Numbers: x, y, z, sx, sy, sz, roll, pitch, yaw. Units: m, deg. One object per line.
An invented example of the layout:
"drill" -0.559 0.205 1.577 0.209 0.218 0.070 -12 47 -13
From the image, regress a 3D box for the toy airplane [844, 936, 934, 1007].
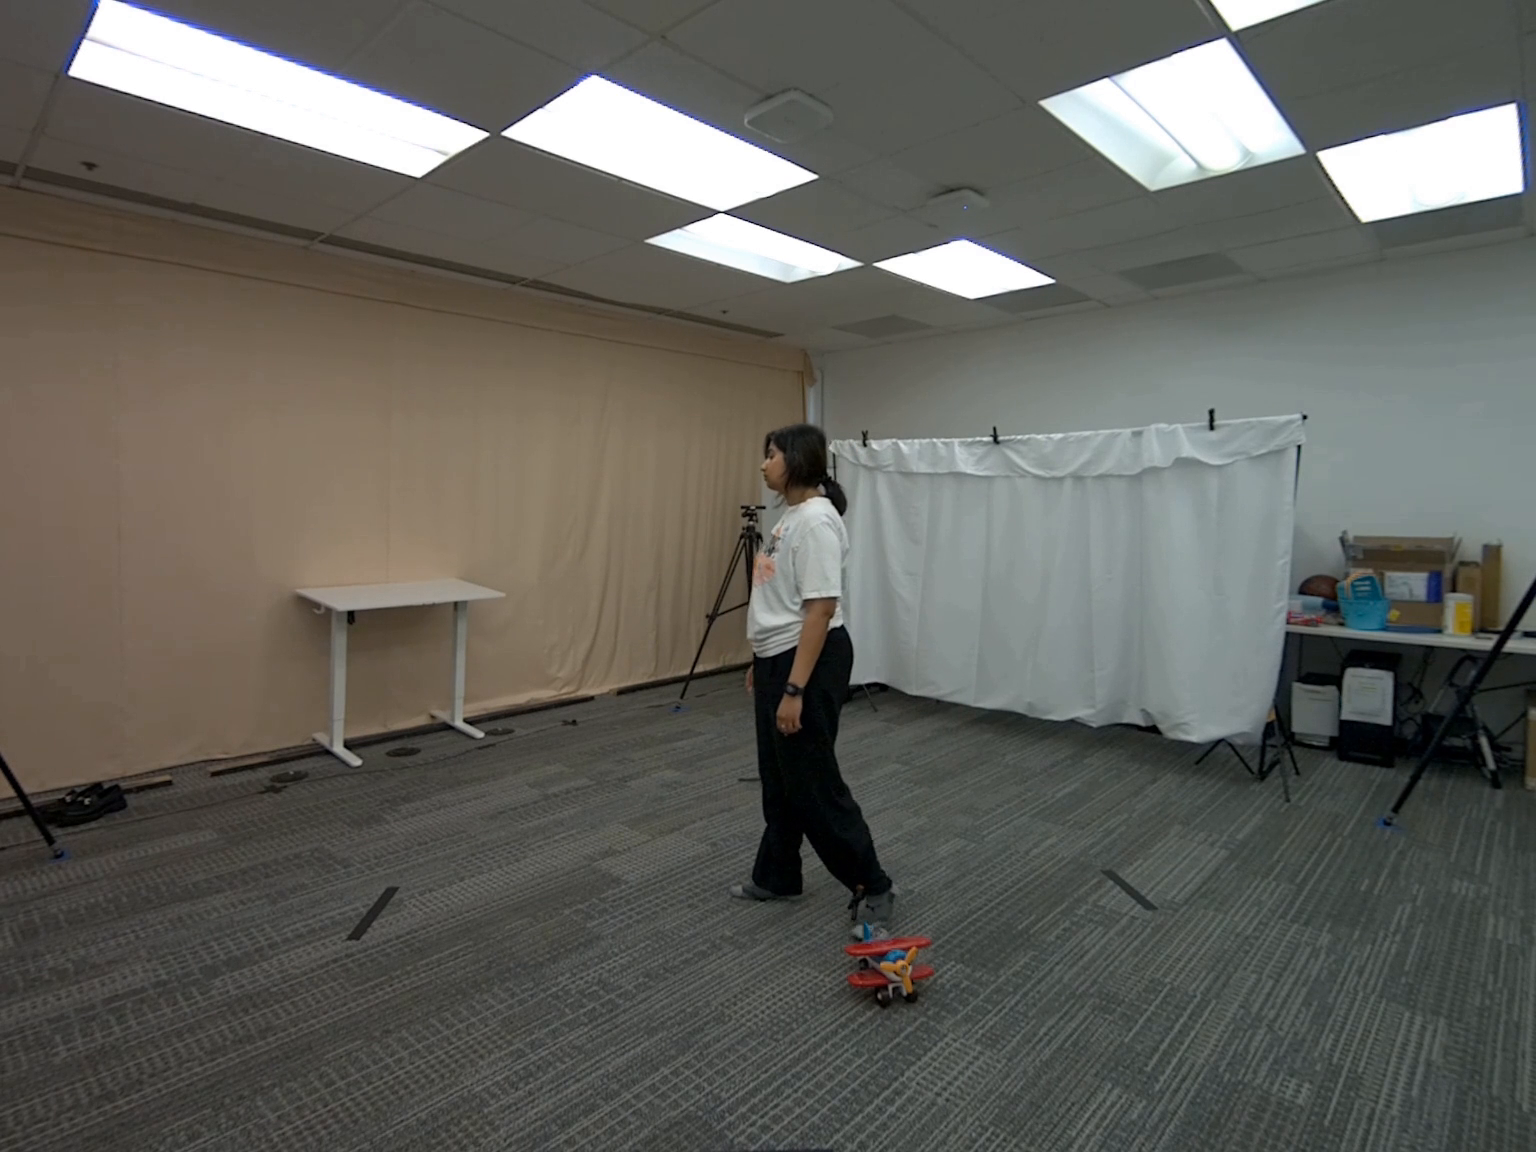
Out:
"toy airplane" 0.323 1.112 2.428 0.243 0.156 0.268 -5 7 -43
